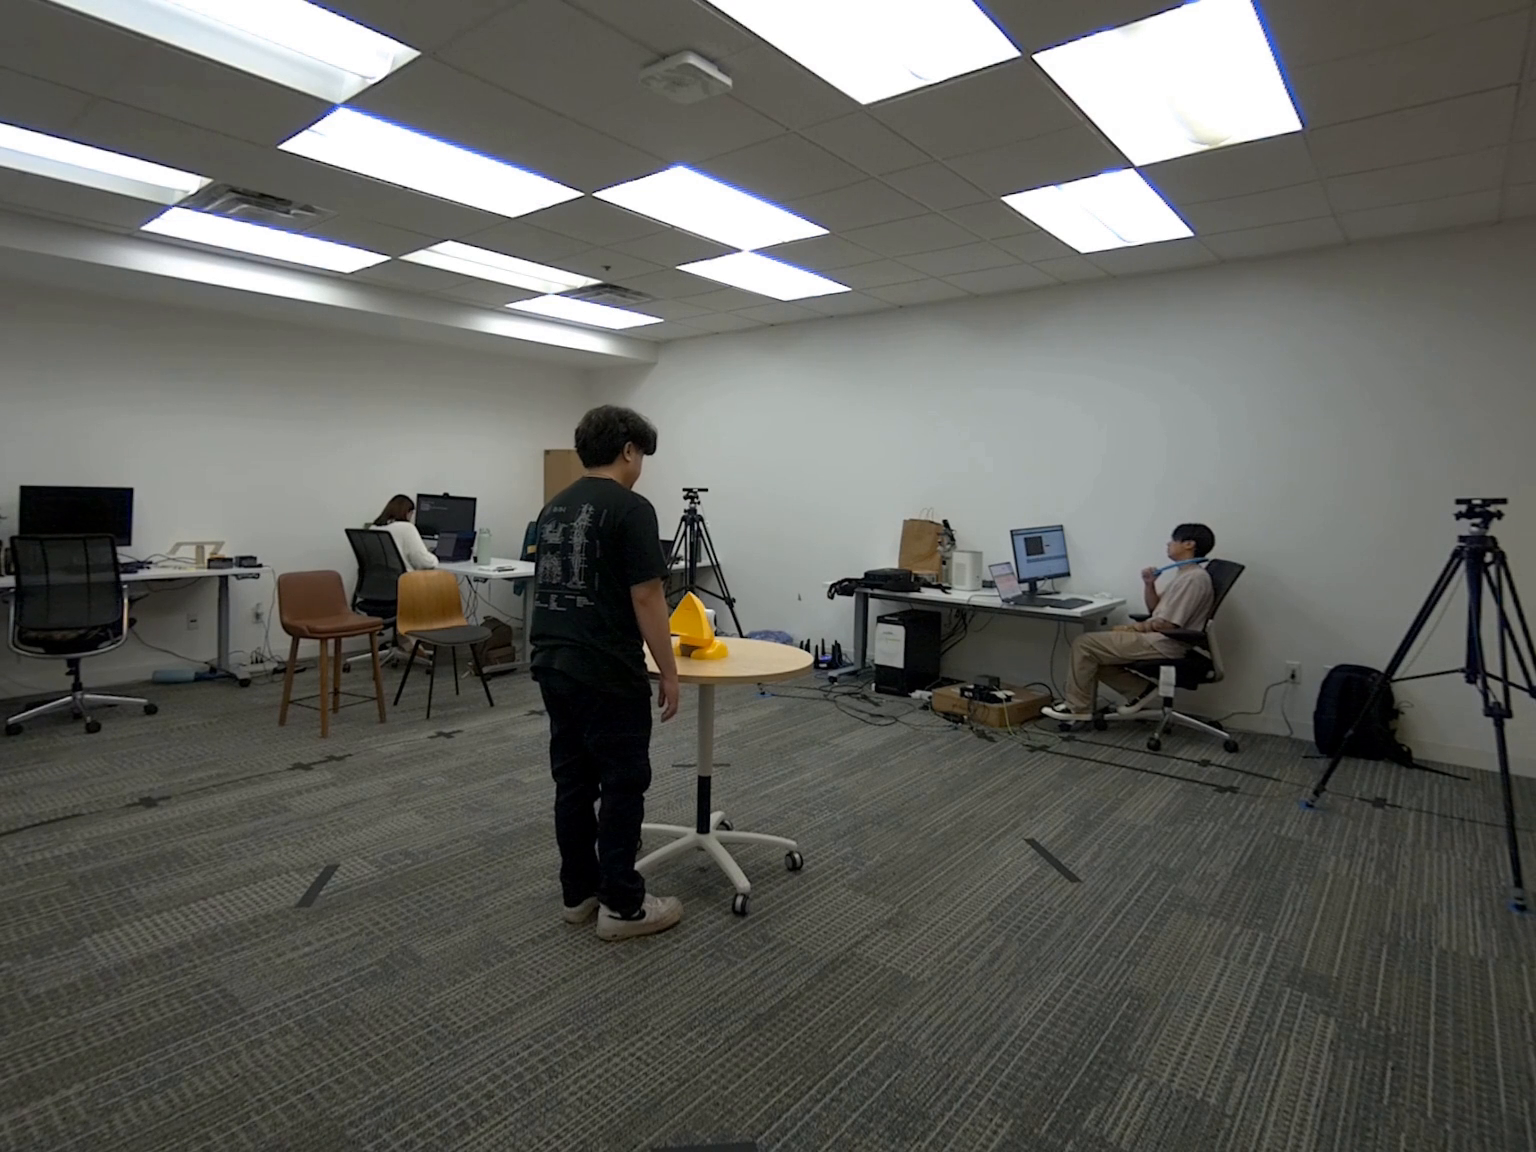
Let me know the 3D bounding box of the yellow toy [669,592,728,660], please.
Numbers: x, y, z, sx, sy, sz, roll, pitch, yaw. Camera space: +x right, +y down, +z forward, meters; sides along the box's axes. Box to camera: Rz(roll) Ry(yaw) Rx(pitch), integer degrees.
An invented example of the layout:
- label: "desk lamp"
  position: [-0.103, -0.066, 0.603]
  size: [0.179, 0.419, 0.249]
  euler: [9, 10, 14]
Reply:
- label: "yellow toy"
  position: [-0.258, 0.163, 3.057]
  size: [0.211, 0.230, 0.187]
  euler: [4, 4, 37]
